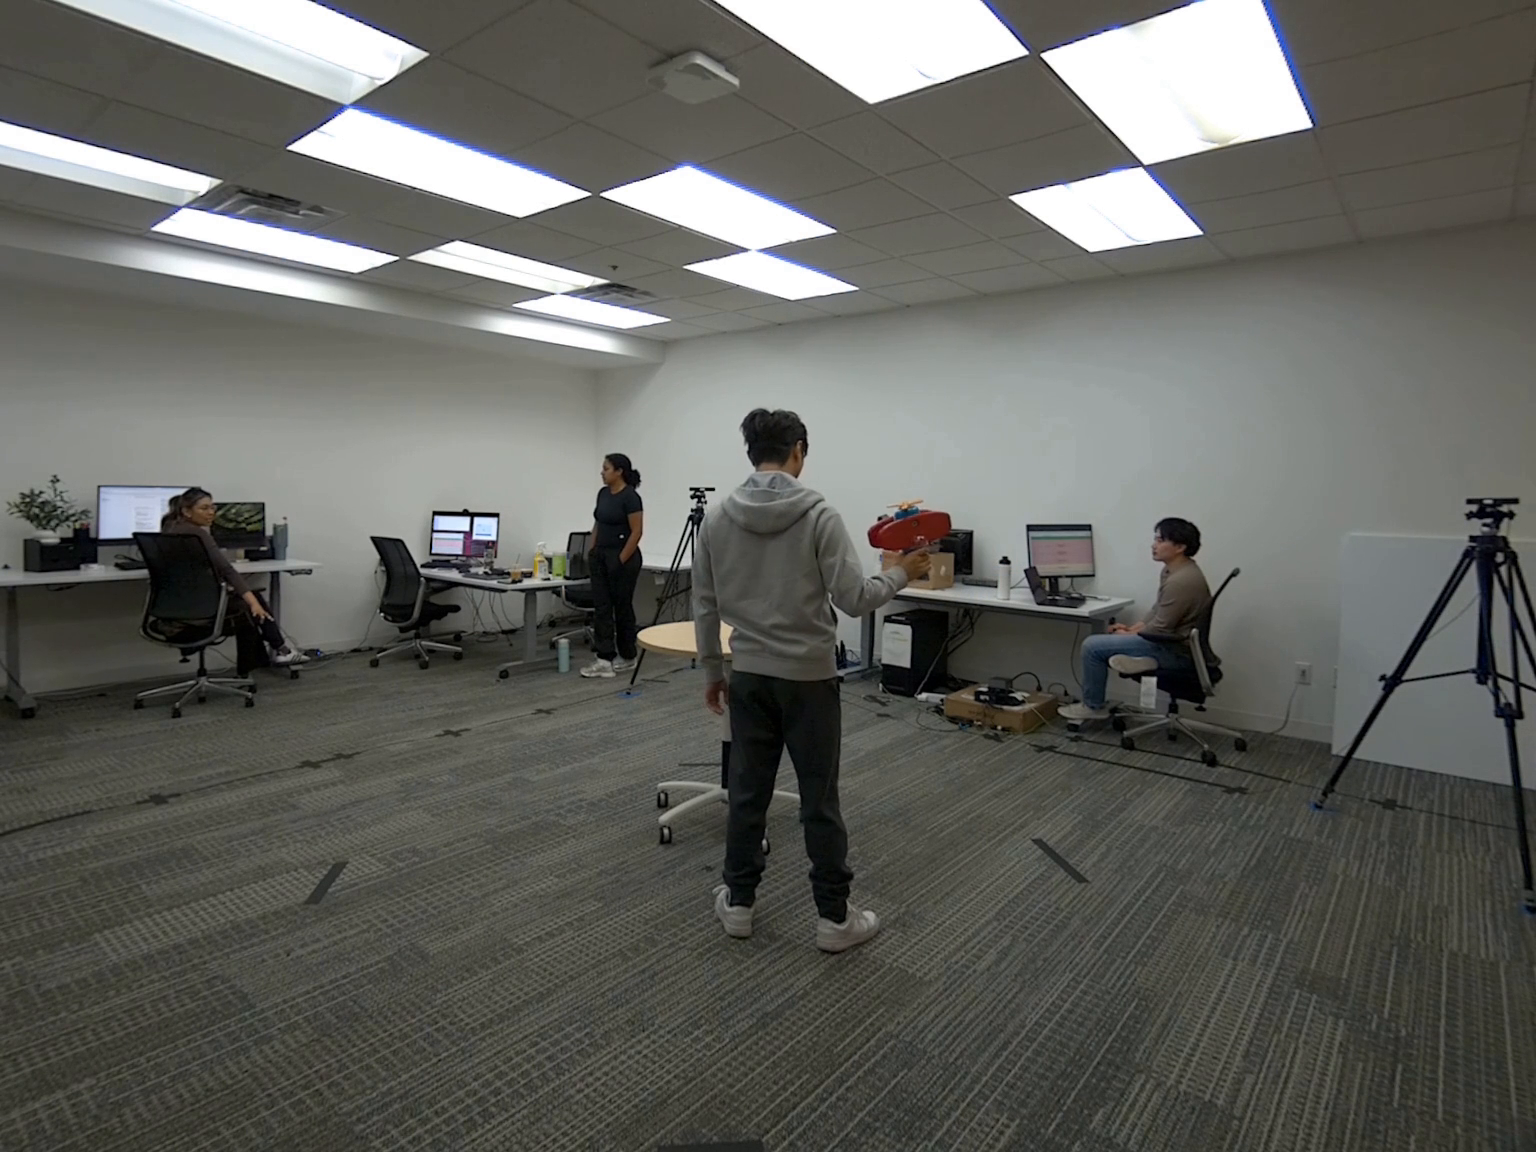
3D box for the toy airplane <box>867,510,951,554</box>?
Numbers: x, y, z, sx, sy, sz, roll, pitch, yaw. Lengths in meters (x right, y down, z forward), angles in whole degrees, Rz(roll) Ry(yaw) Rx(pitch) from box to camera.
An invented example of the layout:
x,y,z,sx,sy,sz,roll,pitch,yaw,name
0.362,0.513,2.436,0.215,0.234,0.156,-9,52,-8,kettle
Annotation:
x,y,z,sx,sy,sz,roll,pitch,yaw,name
0.470,-0.111,2.745,0.250,0.259,0.157,-43,1,-14,toy airplane
